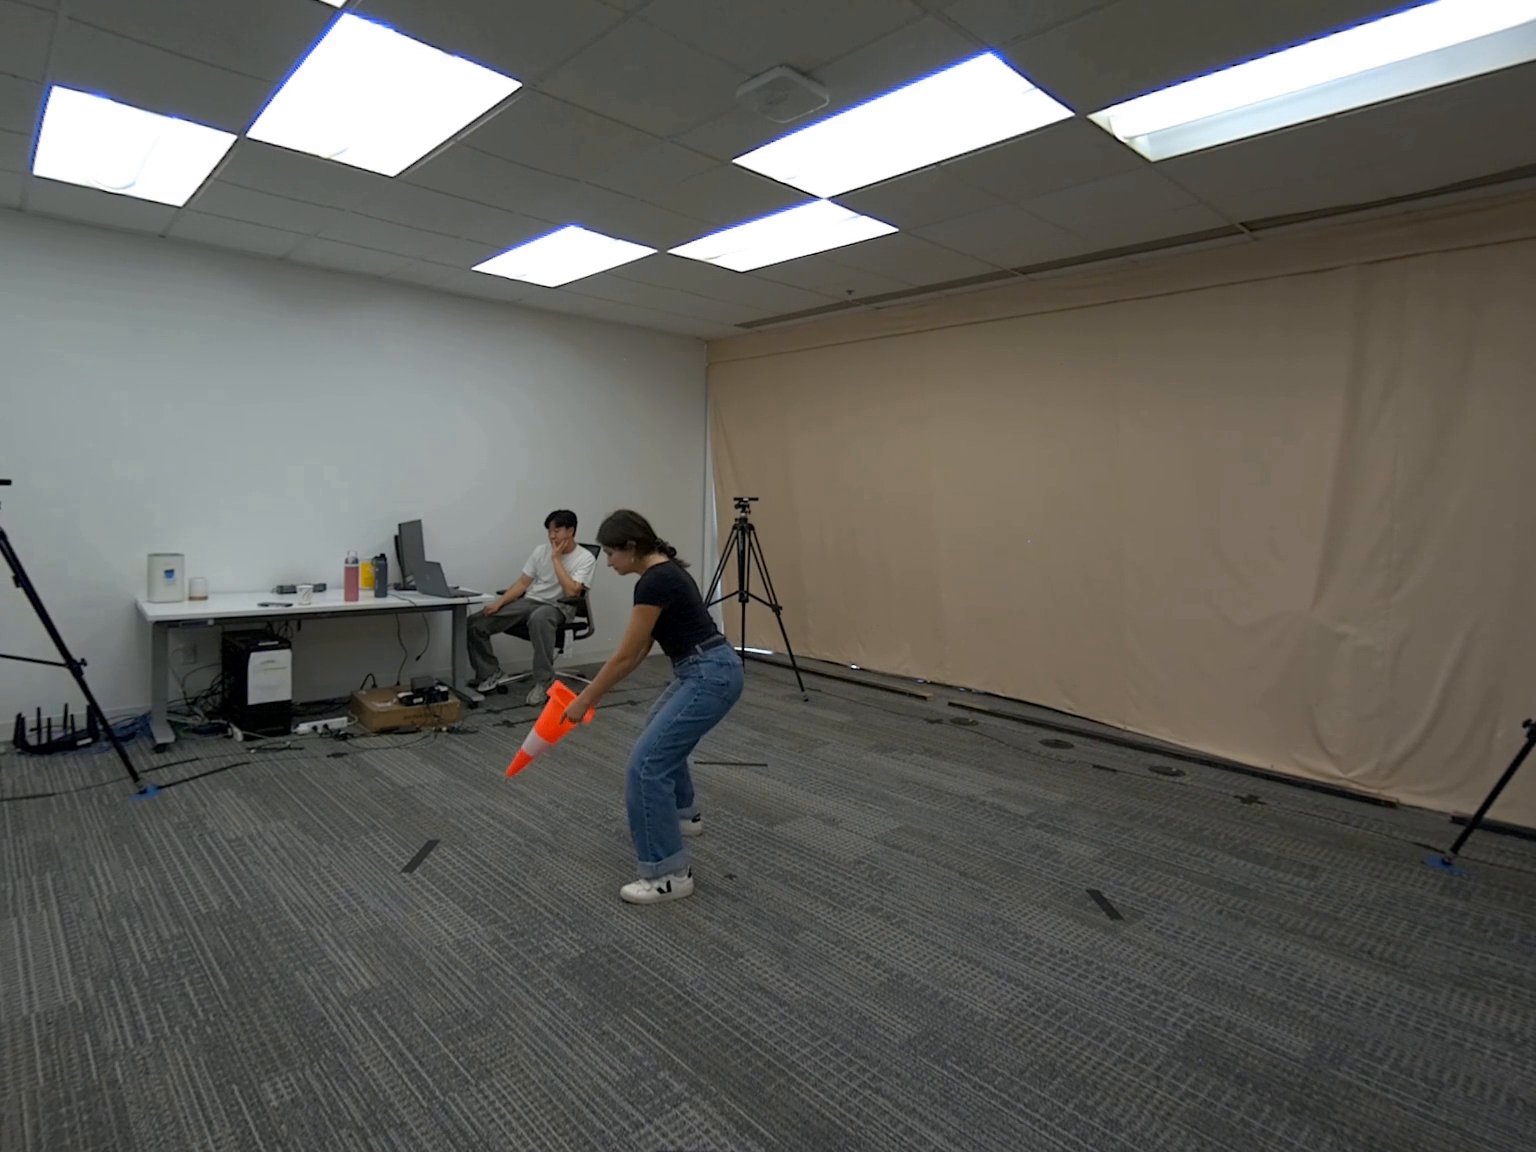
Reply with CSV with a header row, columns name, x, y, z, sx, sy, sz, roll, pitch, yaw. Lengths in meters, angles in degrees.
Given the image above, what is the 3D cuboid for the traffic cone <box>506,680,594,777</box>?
name,x,y,z,sx,sy,sz,roll,pitch,yaw
traffic cone,-0.877,0.627,3.238,0.205,0.383,0.203,42,-1,-1
